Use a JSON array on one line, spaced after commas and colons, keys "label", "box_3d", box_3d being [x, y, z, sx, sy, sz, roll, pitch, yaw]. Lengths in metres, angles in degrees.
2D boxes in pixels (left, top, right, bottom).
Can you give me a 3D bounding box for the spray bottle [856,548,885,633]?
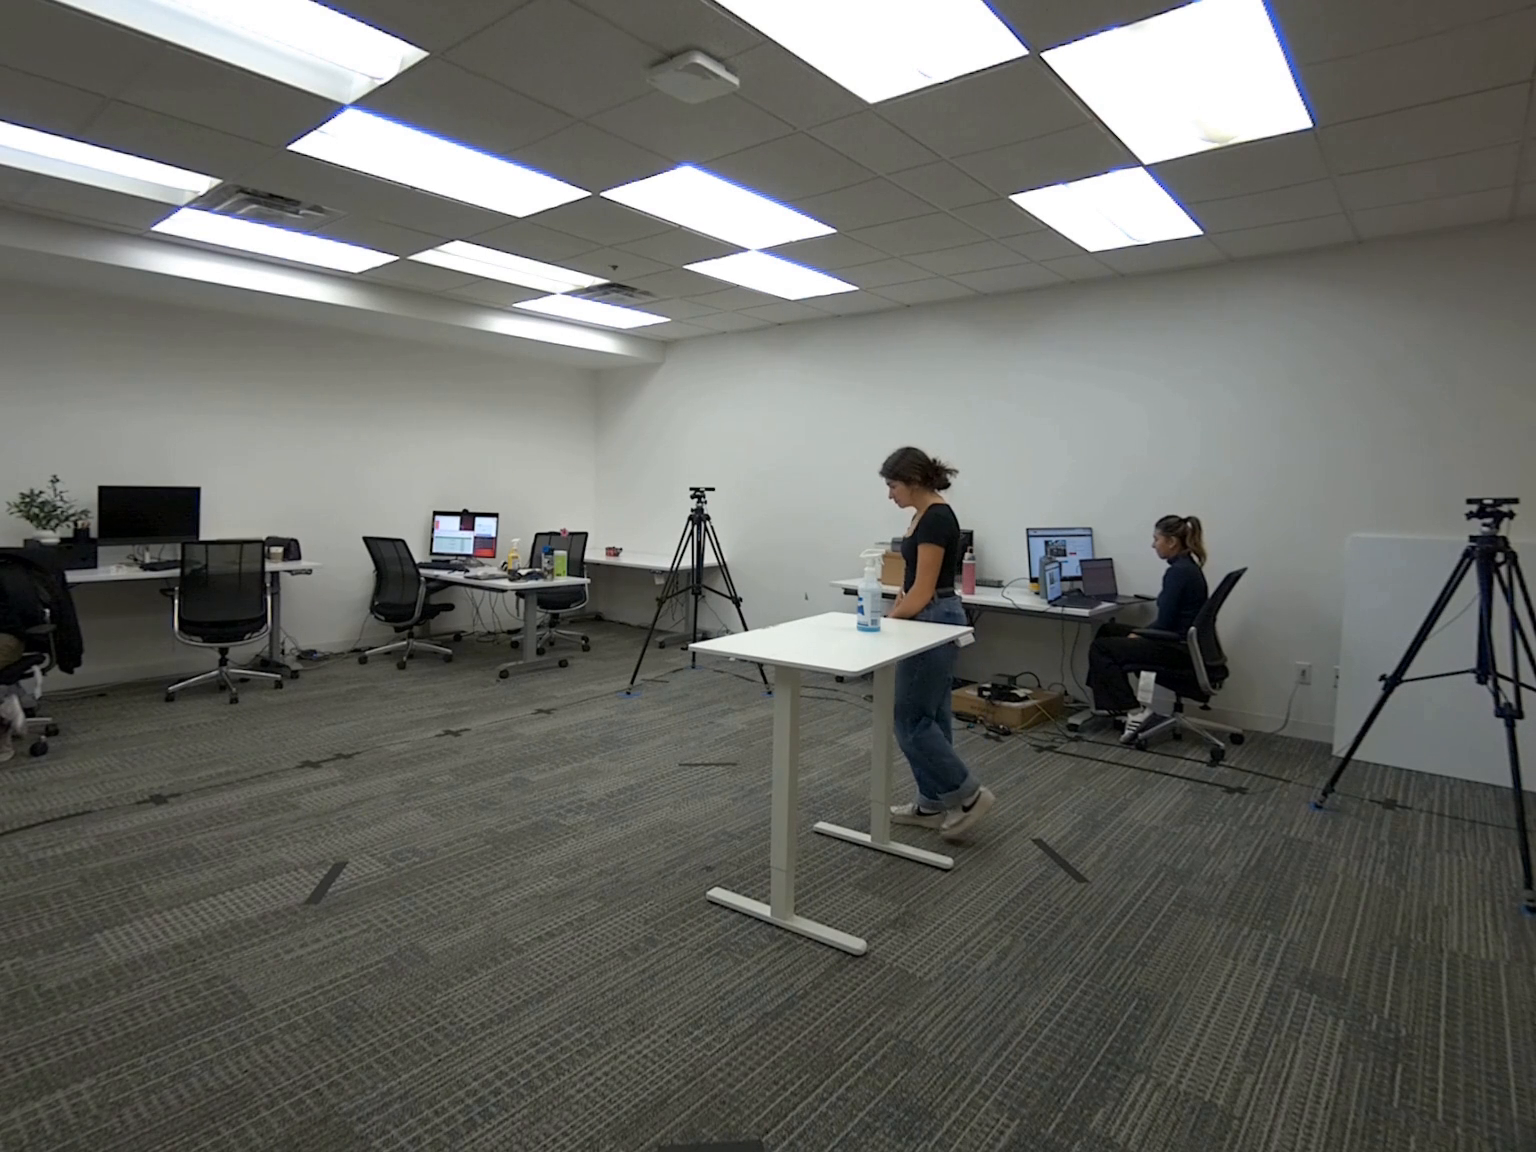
[{"label": "spray bottle", "box_3d": [0.370, 0.051, 3.105, 0.093, 0.296, 0.084, 5, 5, 43]}]
